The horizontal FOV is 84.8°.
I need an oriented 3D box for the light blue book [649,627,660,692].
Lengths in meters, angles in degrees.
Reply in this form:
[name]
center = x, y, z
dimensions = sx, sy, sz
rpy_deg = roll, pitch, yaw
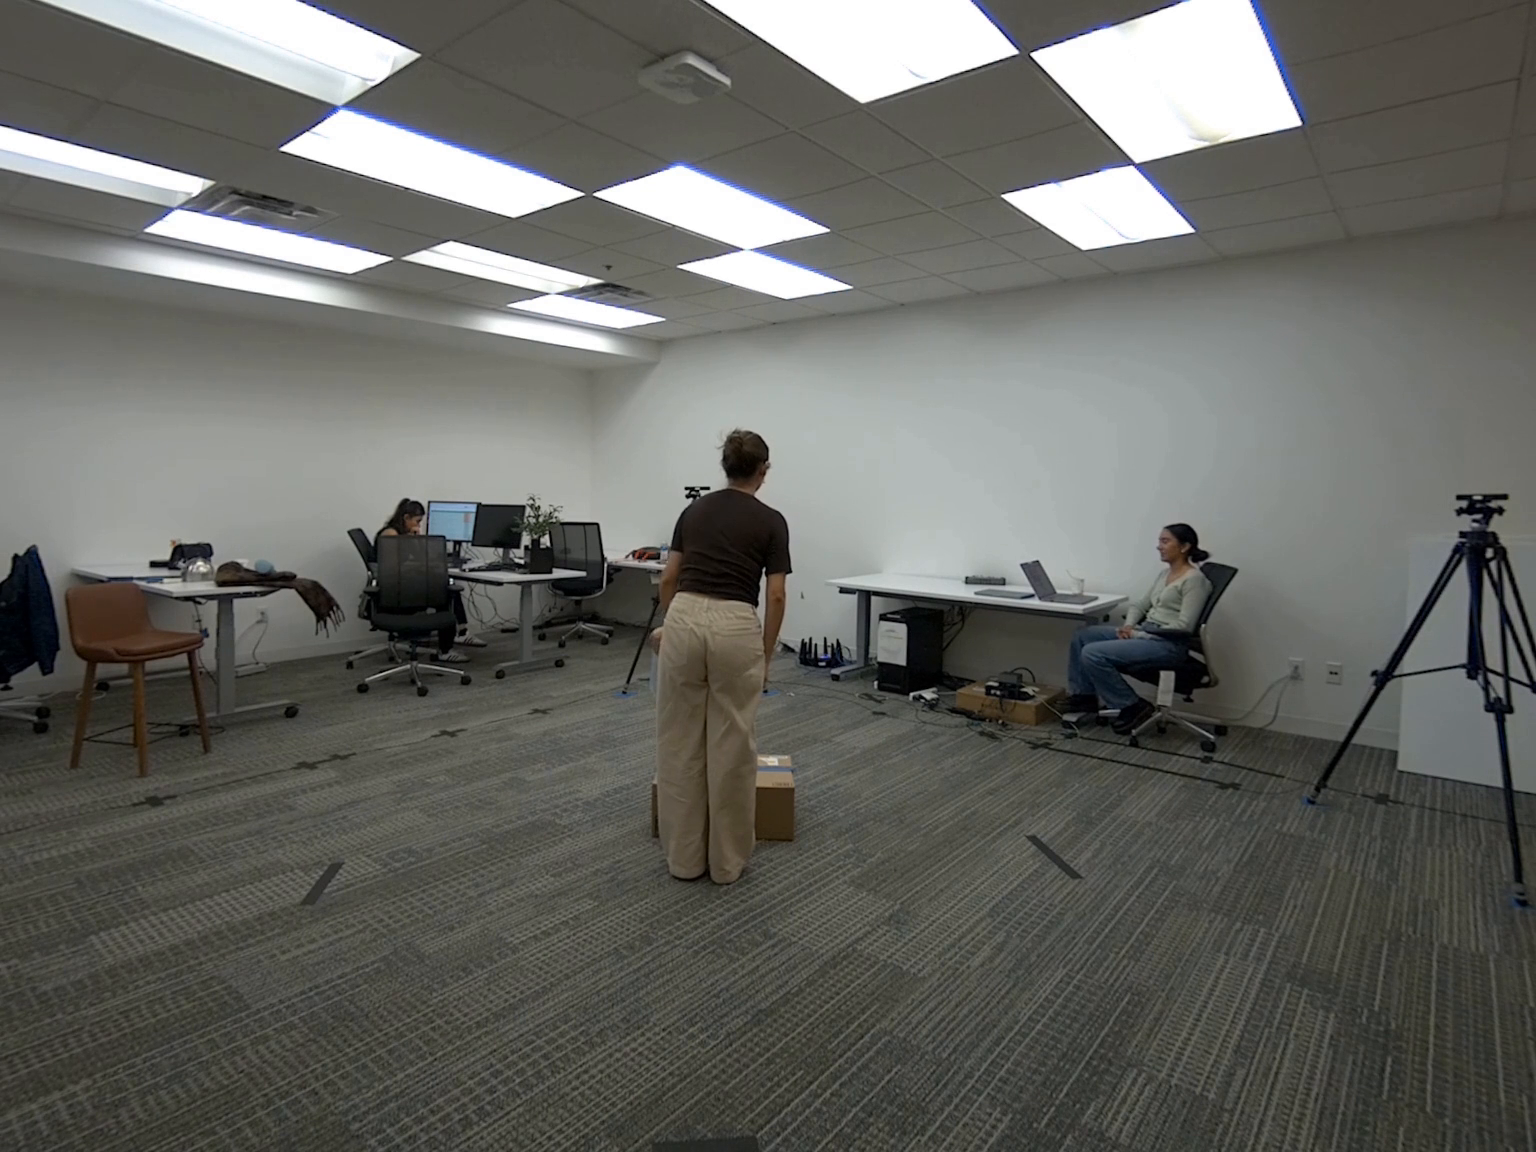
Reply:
[light blue book]
center = -0.398, 0.391, 3.324
dimensions = 0.058, 0.255, 0.199
rpy_deg = -8, 39, -25
